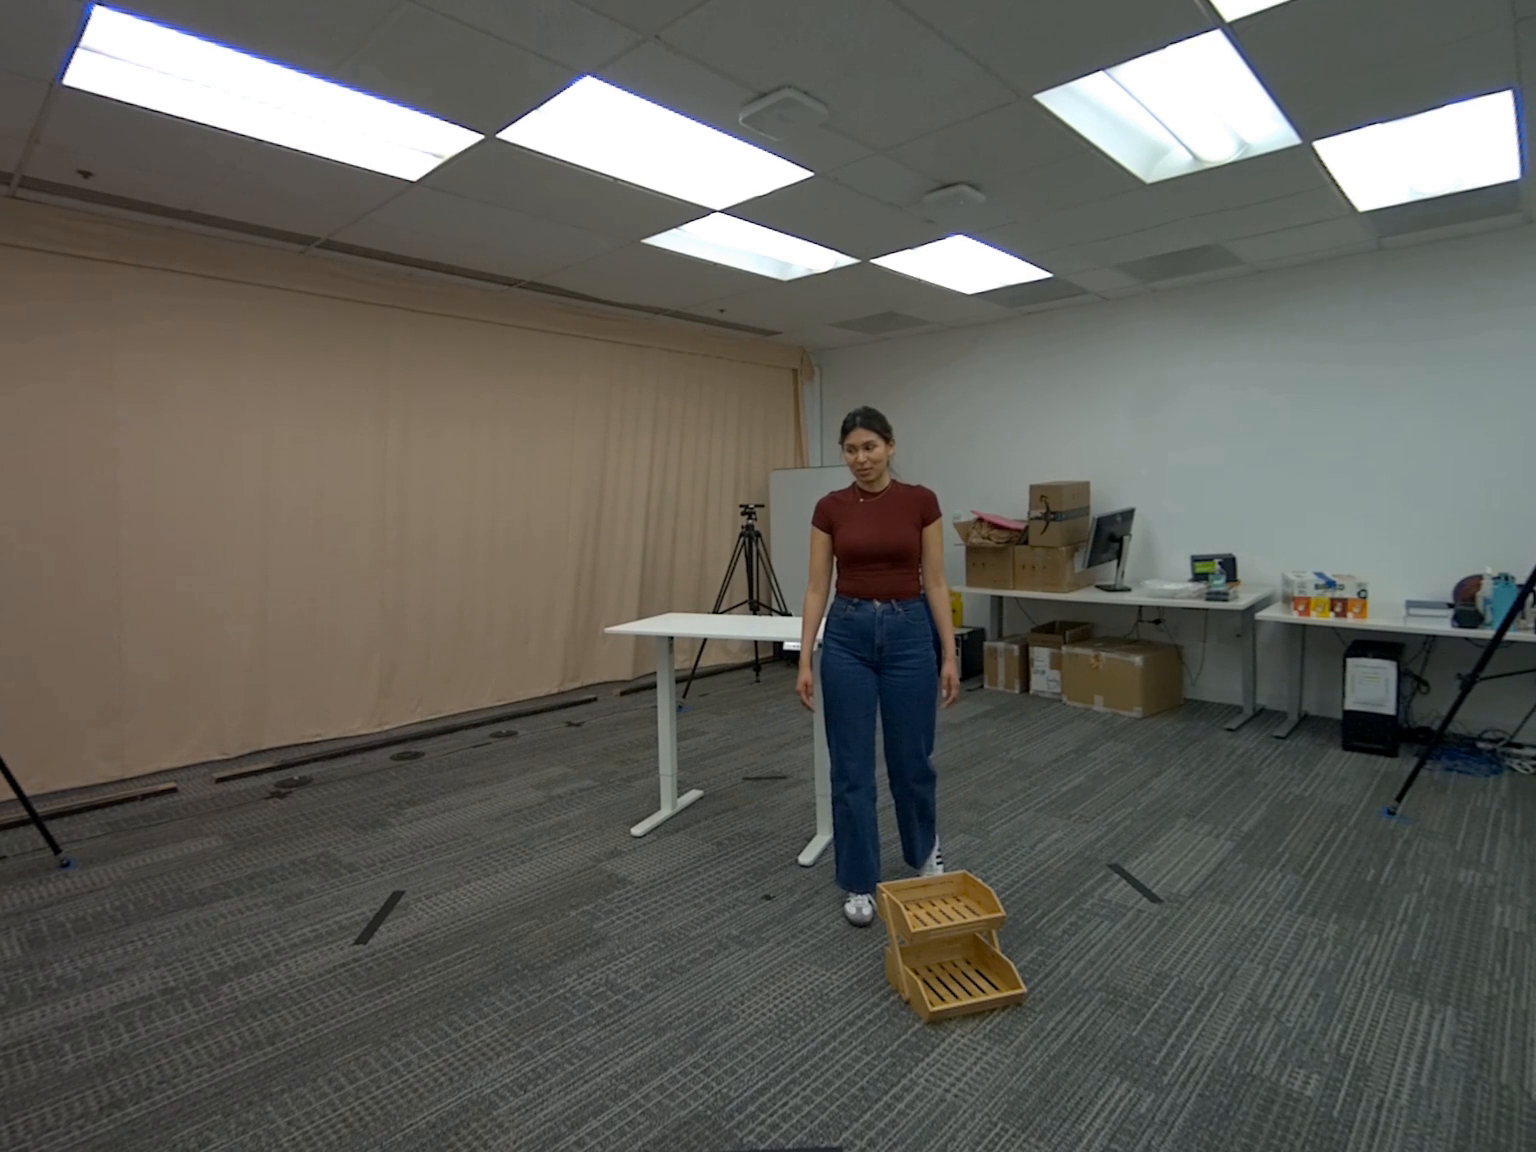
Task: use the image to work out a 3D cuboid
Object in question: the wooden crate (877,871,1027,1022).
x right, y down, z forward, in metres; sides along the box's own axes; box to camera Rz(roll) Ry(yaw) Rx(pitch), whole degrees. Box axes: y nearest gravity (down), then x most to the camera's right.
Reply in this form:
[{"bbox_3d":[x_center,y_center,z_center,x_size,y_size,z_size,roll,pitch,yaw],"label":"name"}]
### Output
[{"bbox_3d":[0.519,1.044,2.405,0.319,0.273,0.308,-2,3,-18],"label":"wooden crate"}]
